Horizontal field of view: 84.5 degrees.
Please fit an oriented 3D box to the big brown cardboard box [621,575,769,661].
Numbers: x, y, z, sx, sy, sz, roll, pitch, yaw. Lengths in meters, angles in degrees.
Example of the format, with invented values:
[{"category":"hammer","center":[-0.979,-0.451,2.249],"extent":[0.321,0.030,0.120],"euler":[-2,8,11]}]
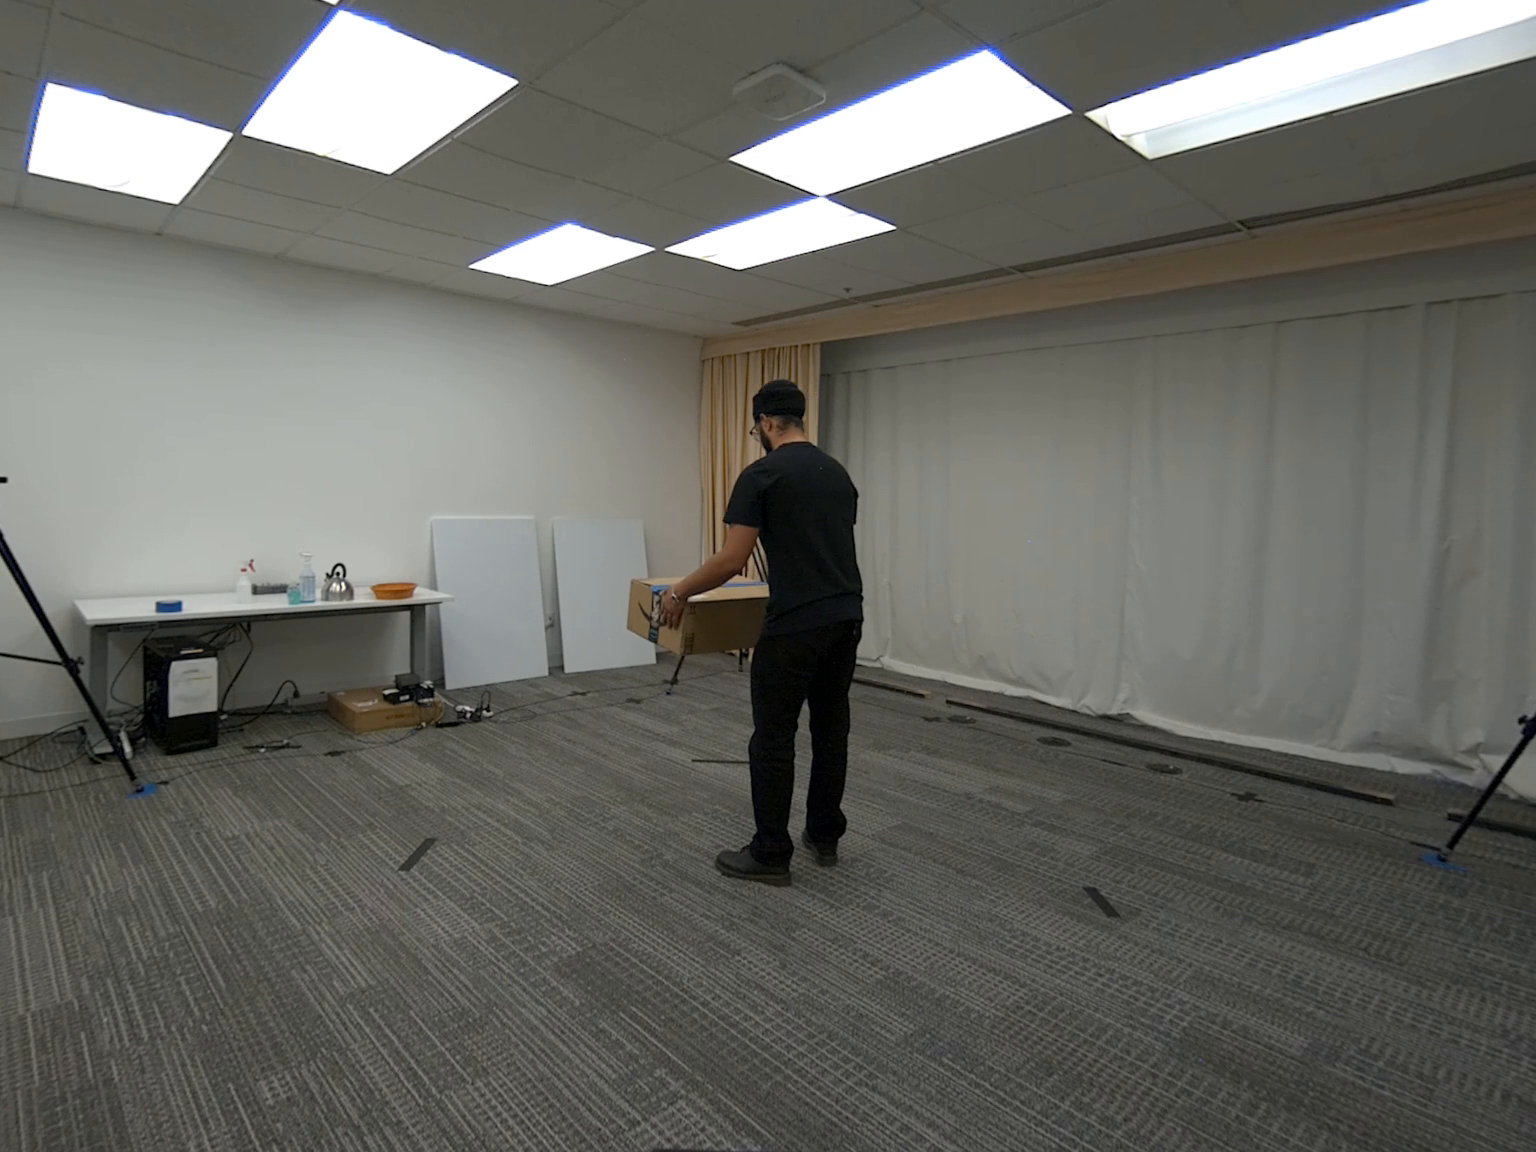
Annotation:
[{"category":"big brown cardboard box","center":[-0.234,0.154,3.484],"extent":[0.575,0.232,0.429],"euler":[-1,11,-40]}]
